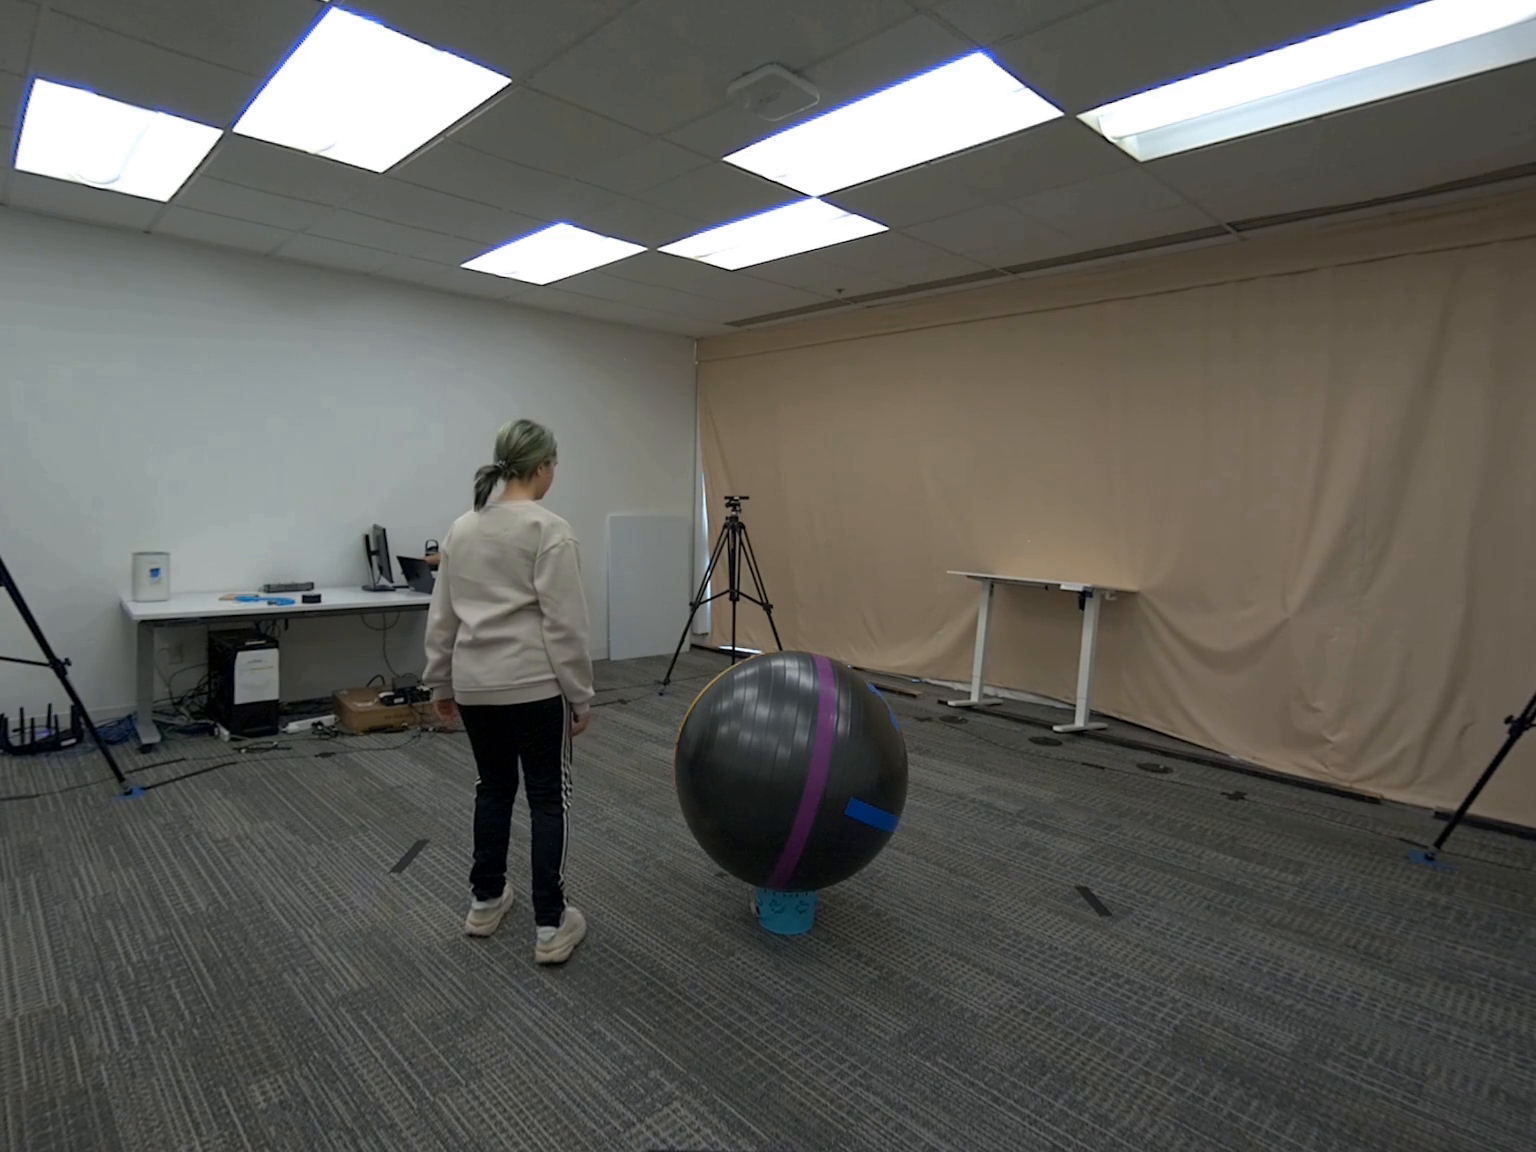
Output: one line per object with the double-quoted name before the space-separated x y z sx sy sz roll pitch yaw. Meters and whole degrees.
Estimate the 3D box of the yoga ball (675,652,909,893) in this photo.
"yoga ball" 0.068 0.631 2.753 0.757 0.756 0.761 1 4 -1
